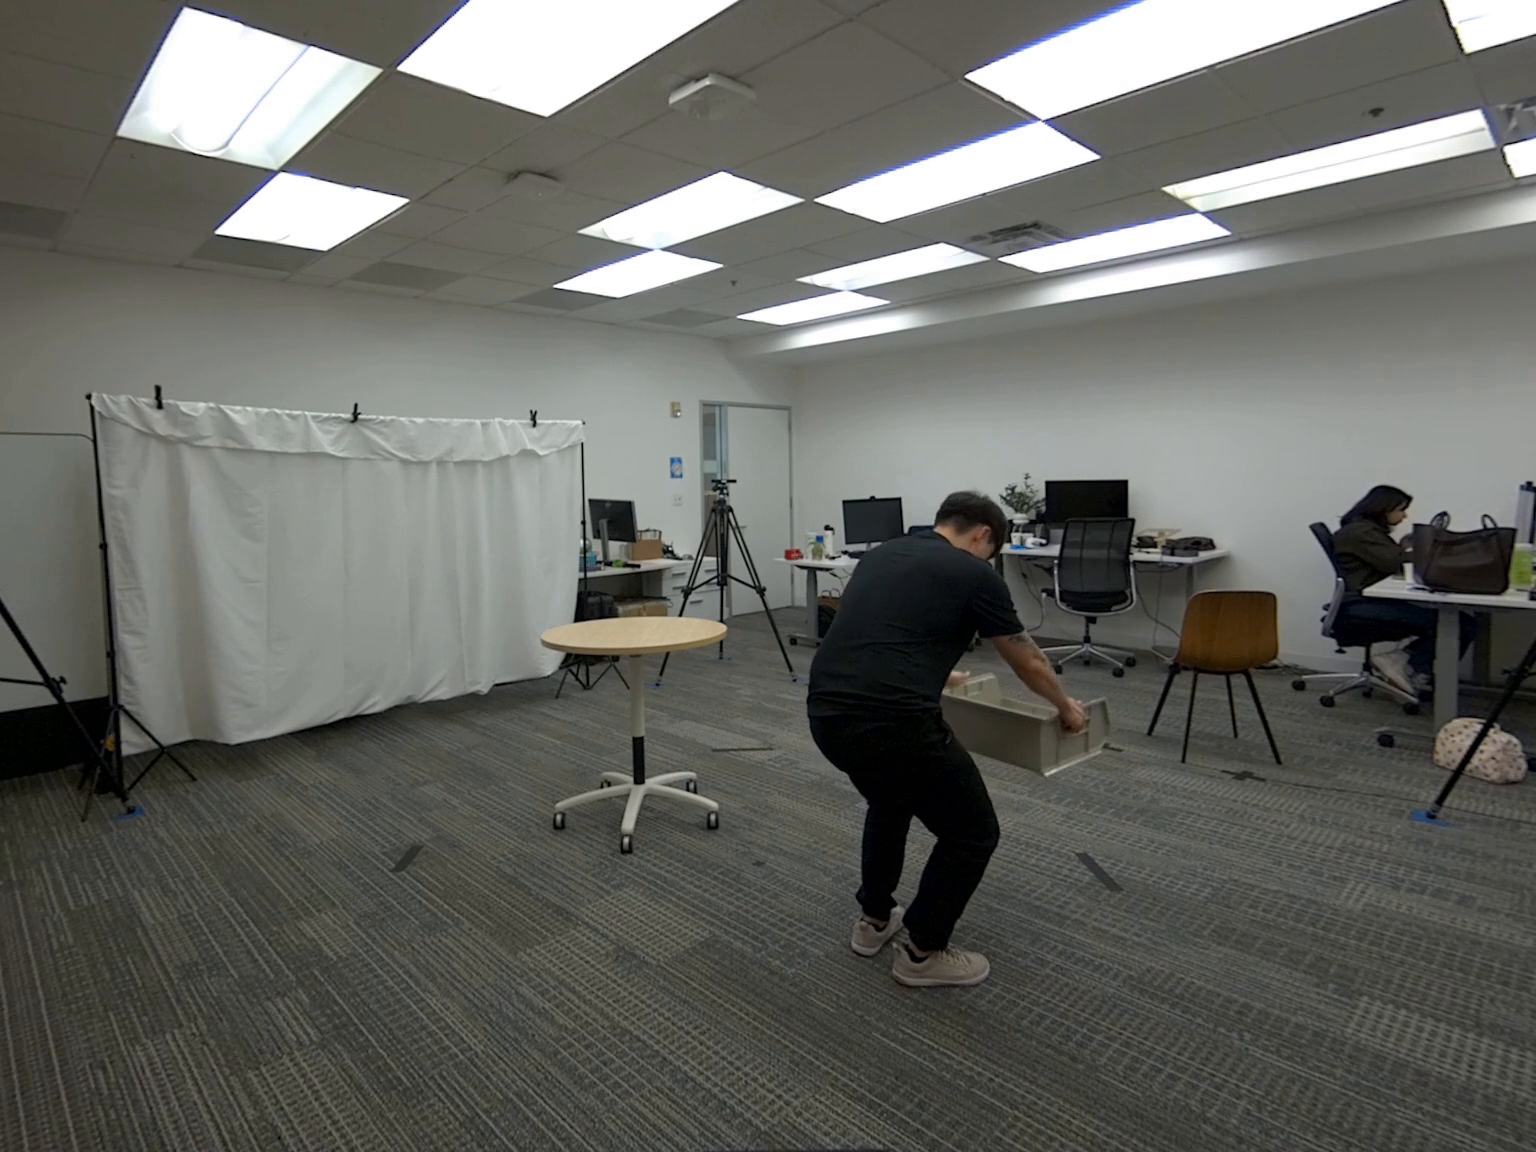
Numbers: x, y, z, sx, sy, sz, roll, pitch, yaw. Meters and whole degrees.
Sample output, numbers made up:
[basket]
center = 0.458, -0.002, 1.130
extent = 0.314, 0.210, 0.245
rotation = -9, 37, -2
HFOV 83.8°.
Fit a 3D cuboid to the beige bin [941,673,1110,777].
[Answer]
[beige bin]
center = 0.810, 0.467, 2.761
extent = 0.368, 0.188, 0.436
rotation = -8, 10, -38
